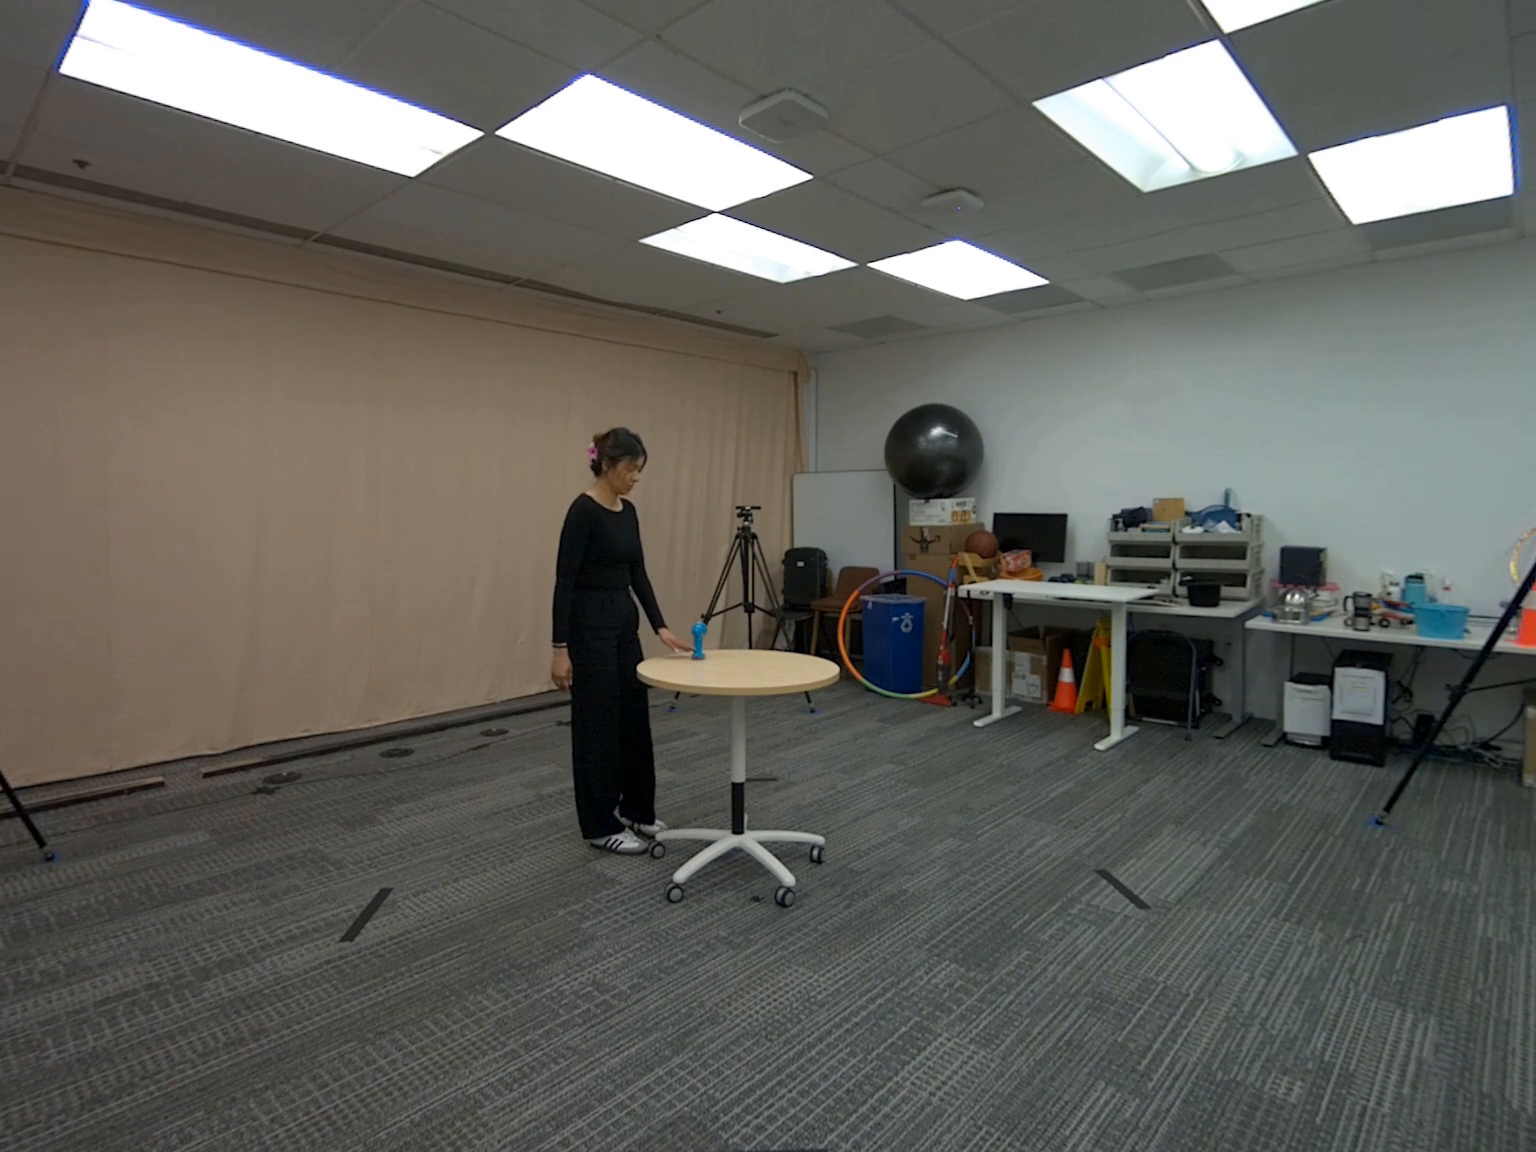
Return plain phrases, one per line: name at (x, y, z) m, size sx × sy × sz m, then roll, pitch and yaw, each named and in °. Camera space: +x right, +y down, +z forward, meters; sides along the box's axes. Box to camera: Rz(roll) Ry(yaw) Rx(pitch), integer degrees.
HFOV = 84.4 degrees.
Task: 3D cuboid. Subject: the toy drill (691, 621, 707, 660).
toy drill at (-0.277, 0.255, 3.400) m, size 0.061 × 0.146 × 0.169 m, roll 1°, pitch 3°, yaw 4°
